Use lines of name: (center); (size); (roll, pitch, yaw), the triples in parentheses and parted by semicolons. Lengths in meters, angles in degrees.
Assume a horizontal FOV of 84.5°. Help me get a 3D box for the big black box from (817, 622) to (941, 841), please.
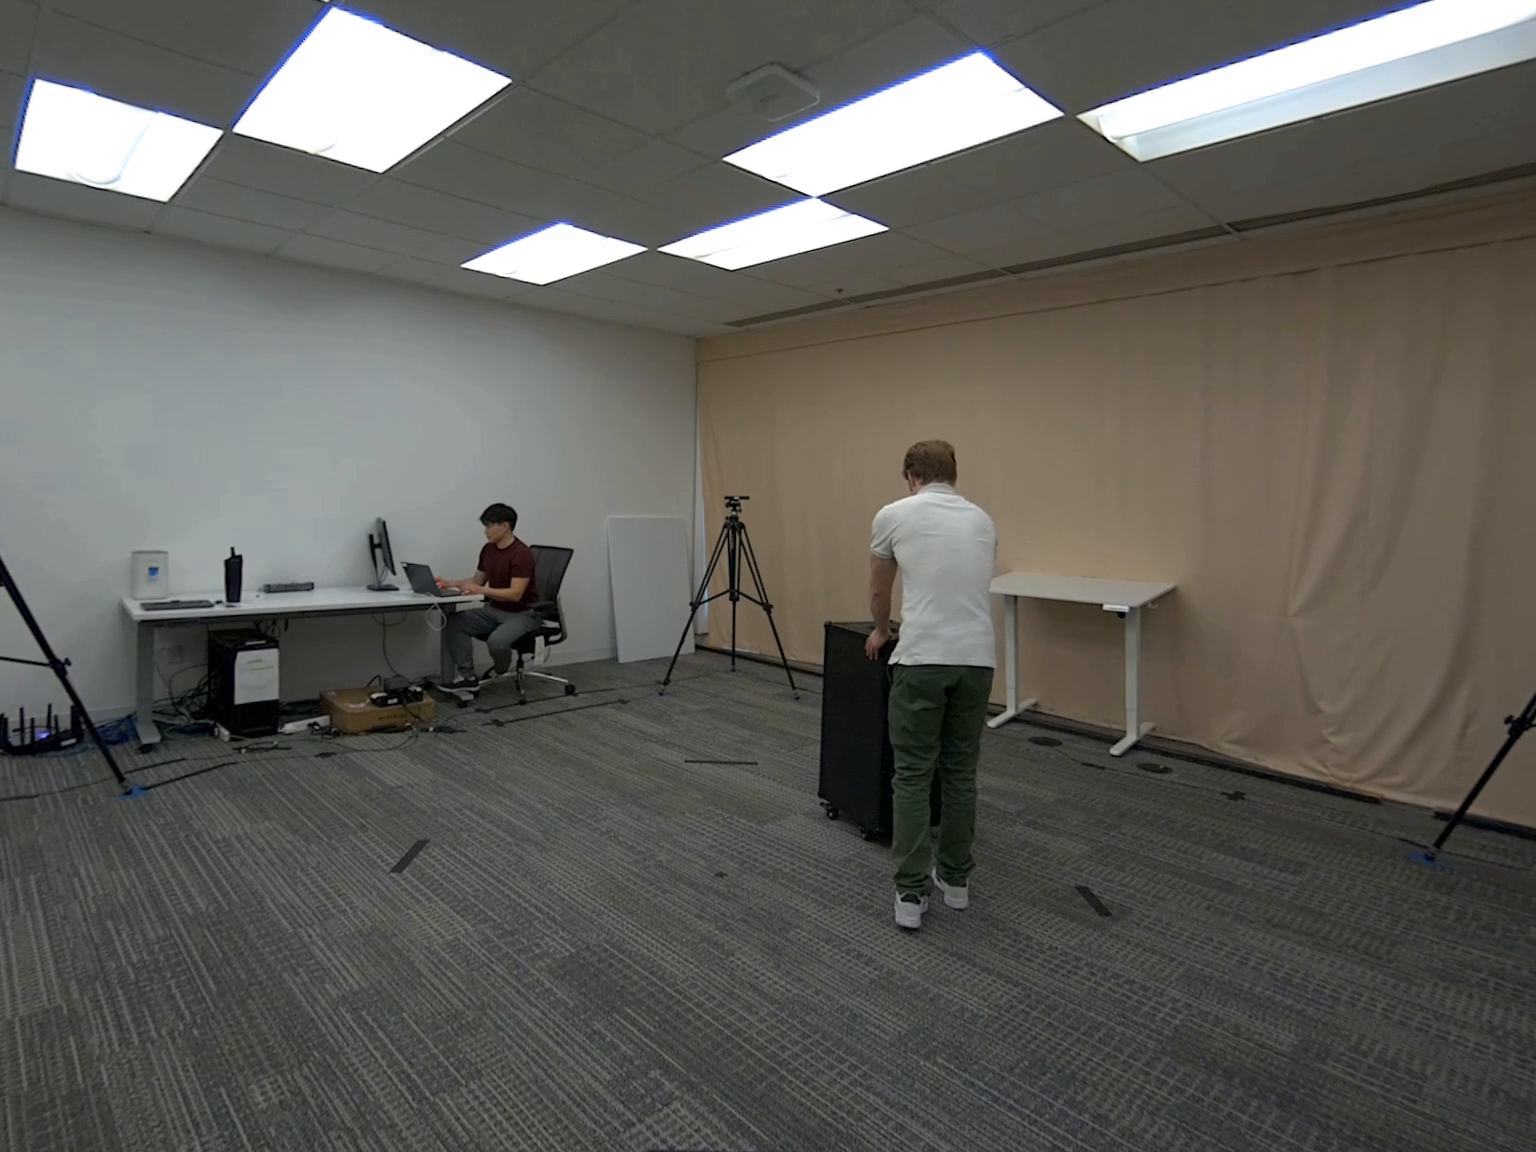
big black box: (0.488, 0.652, 3.611); (0.378, 0.867, 0.534); (1, 3, -27)
